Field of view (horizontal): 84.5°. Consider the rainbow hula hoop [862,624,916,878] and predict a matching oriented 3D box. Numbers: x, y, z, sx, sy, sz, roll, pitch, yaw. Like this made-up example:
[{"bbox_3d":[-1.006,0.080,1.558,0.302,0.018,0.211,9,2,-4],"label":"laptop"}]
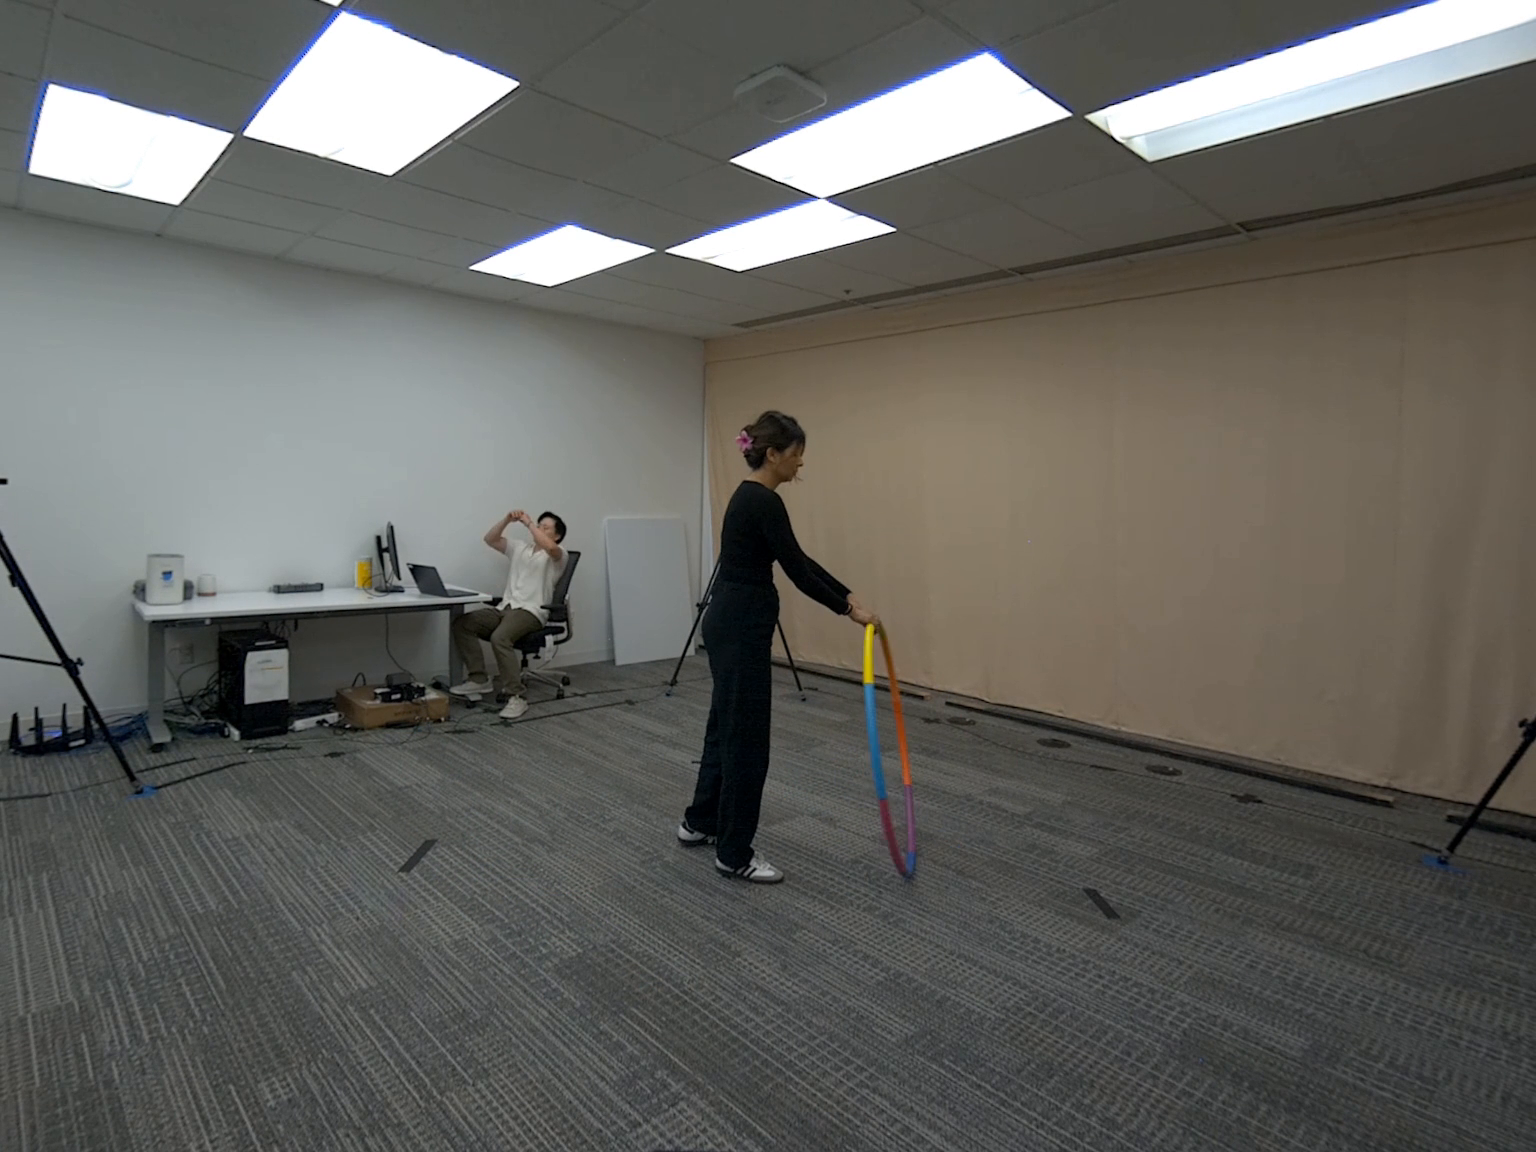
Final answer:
[{"bbox_3d":[0.468,0.636,3.235,0.036,0.978,0.971,-10,2,12],"label":"rainbow hula hoop"}]
